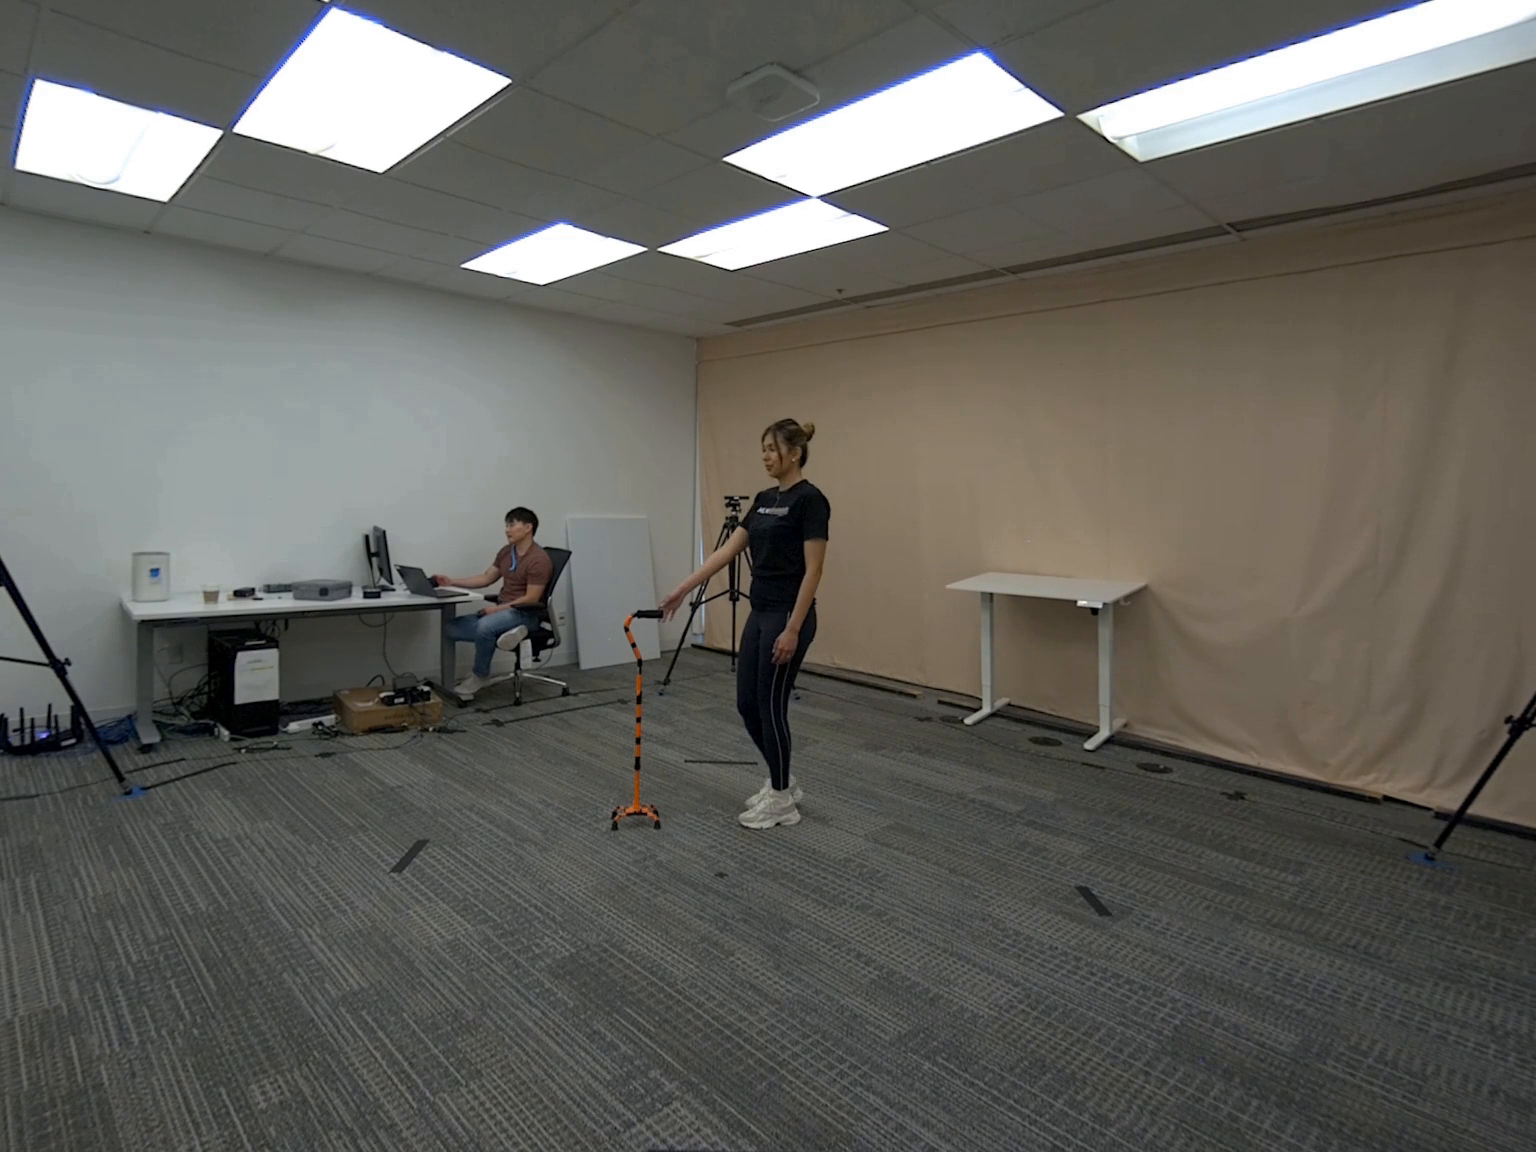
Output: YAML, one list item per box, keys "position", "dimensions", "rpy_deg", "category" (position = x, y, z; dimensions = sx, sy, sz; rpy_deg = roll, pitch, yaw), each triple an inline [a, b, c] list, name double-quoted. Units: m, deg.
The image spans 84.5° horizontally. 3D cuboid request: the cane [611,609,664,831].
- position: [-0.562, 0.600, 3.557]
  dimensions: [0.205, 0.906, 0.153]
  rpy_deg: [1, 3, -11]
  category: "cane"
